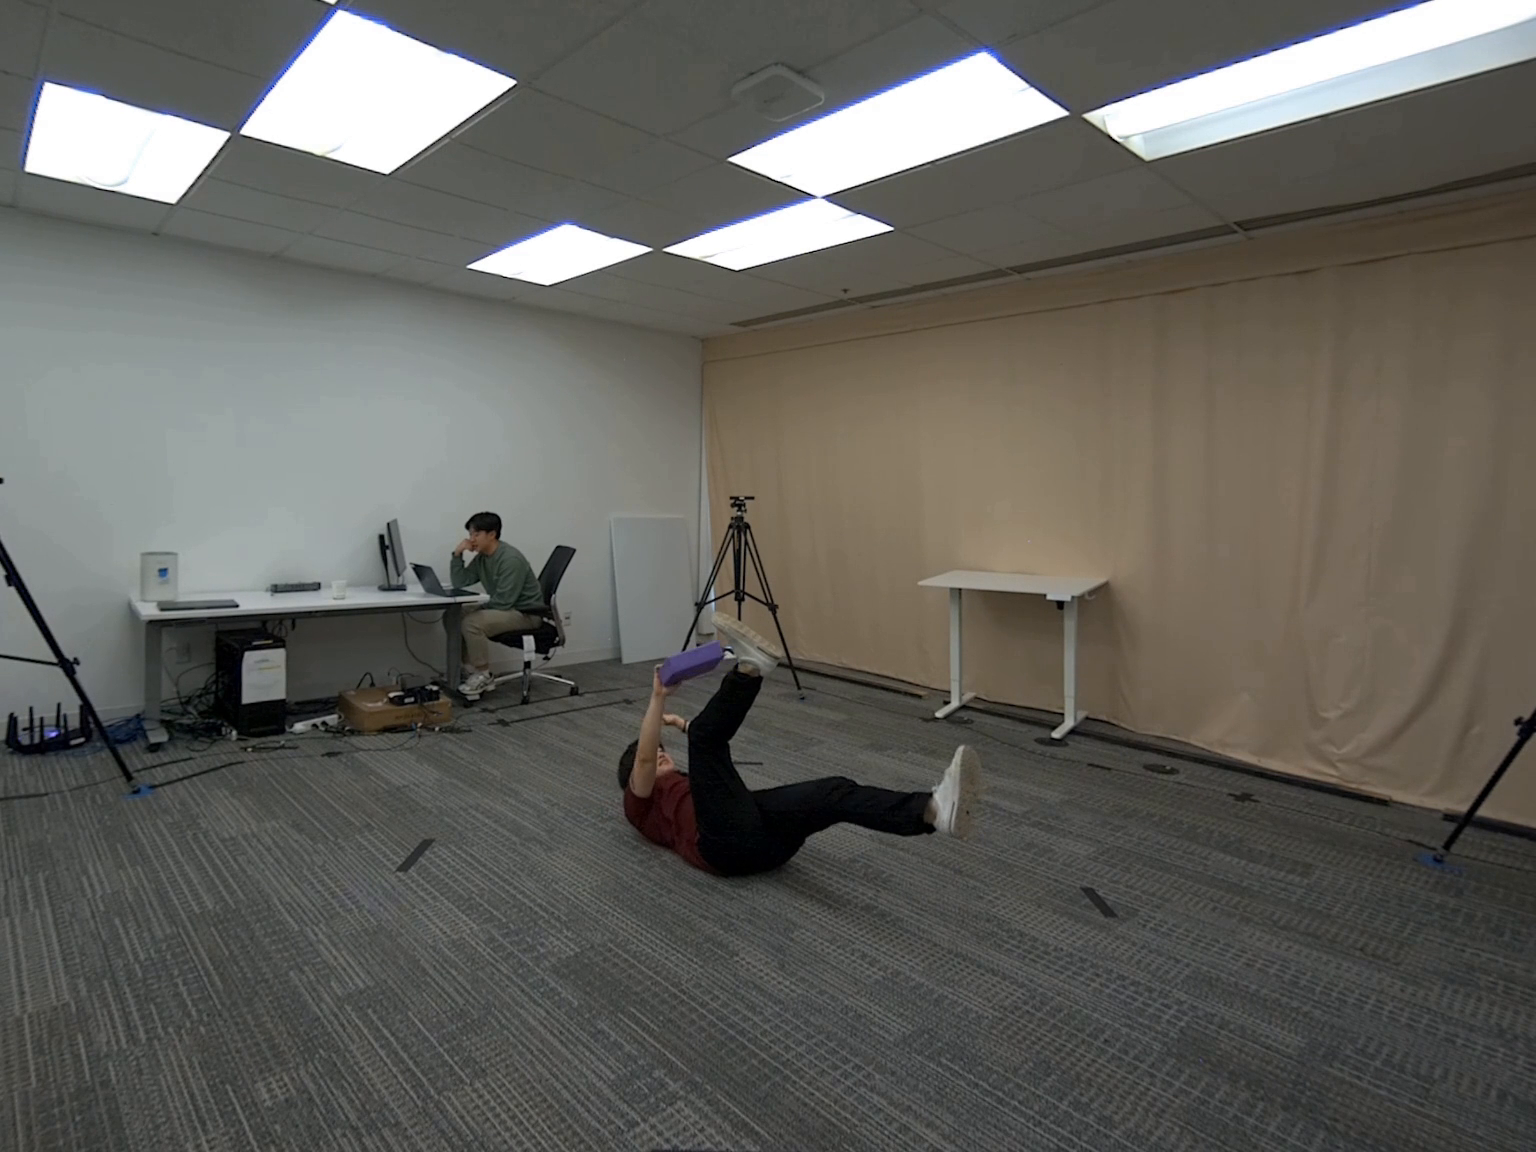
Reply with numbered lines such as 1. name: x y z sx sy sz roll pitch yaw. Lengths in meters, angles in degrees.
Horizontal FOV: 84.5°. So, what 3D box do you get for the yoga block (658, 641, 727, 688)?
1. yoga block: -0.304 0.343 3.264 0.226 0.078 0.148 -16 -20 -31
